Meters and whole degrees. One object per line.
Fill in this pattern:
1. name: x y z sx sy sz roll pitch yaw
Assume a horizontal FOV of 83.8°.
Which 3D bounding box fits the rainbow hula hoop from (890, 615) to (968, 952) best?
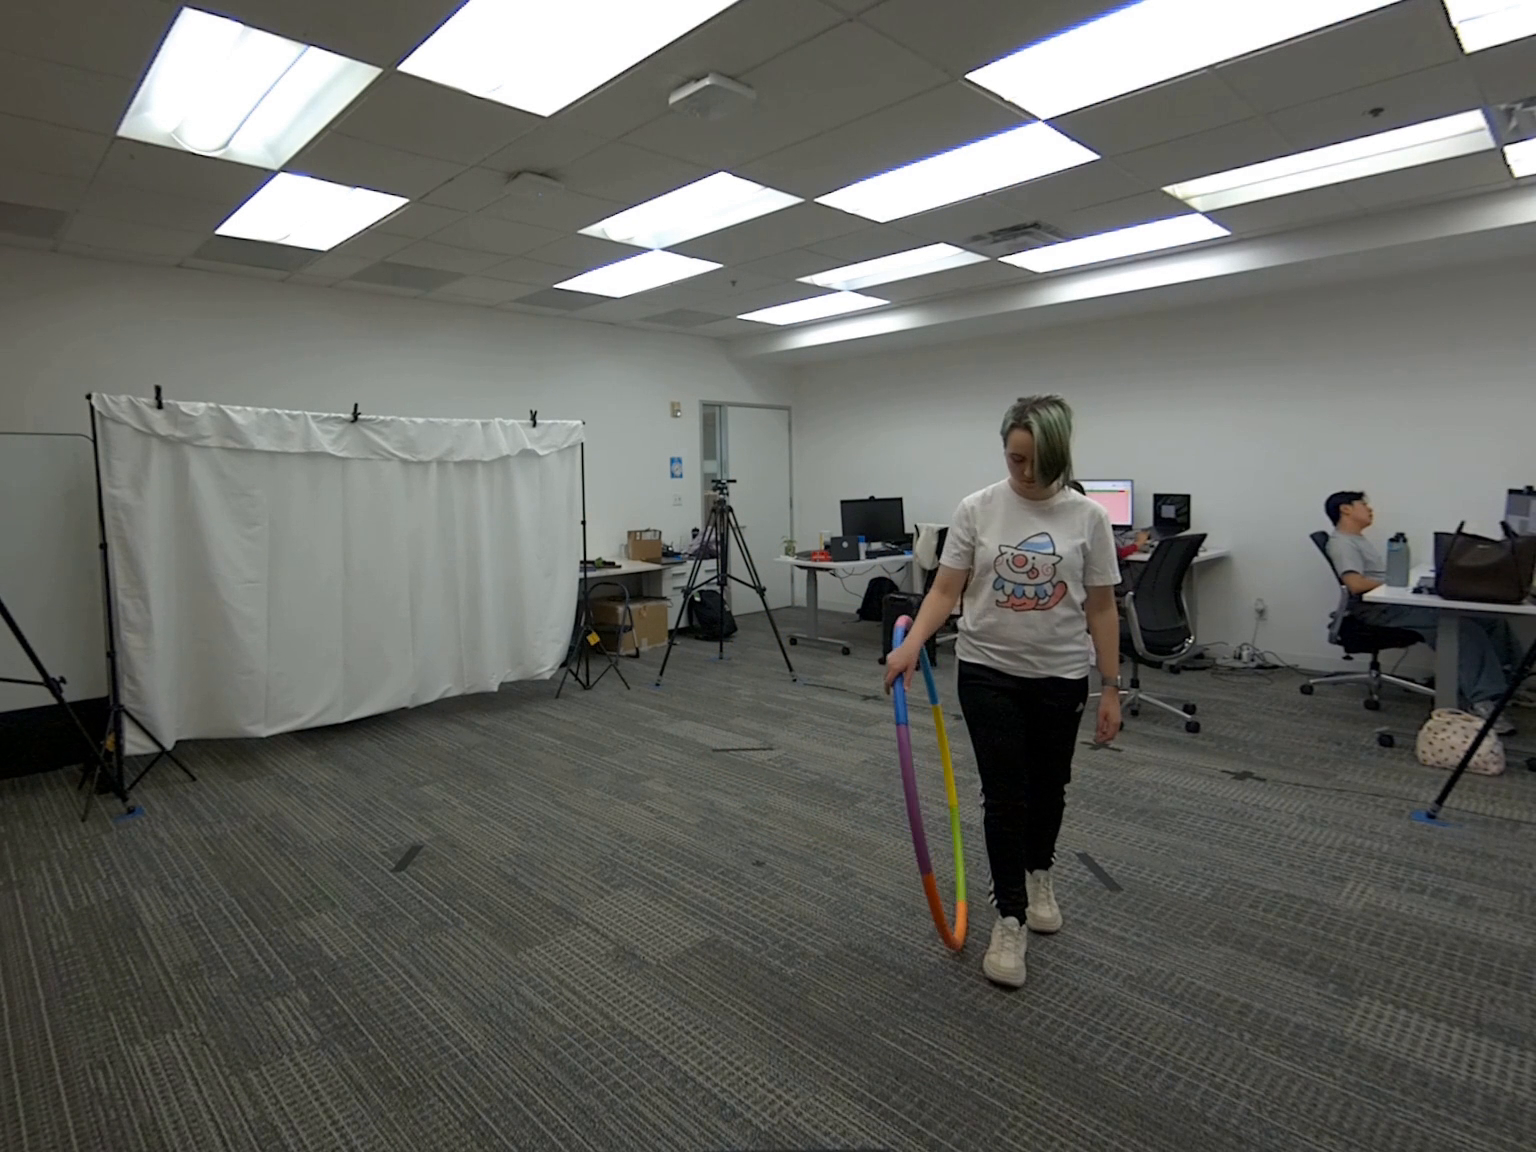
1. rainbow hula hoop: 0.509 0.605 2.644 0.036 0.978 0.967 -11 2 15
